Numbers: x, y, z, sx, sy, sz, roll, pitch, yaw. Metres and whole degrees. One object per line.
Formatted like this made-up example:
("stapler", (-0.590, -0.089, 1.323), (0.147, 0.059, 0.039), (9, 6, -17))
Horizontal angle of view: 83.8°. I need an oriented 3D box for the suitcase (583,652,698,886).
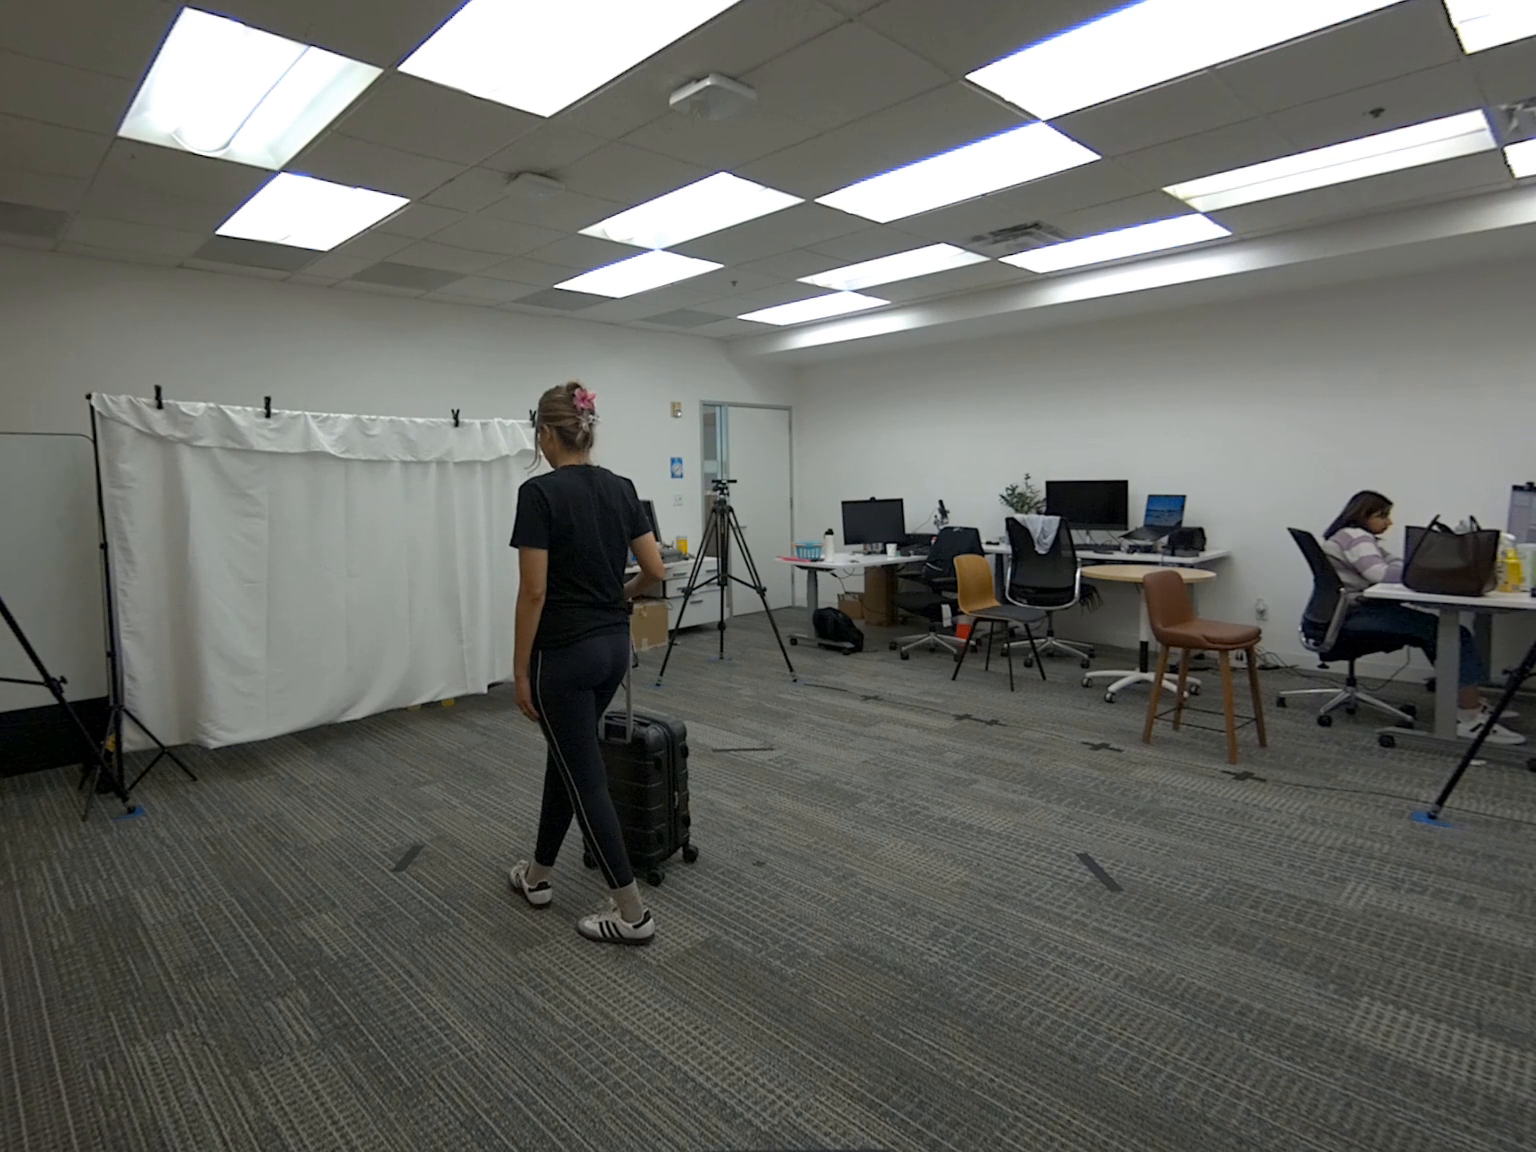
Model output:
("suitcase", (-0.485, 0.576, 3.129), (0.394, 0.979, 0.250), (-1, 0, 30))
